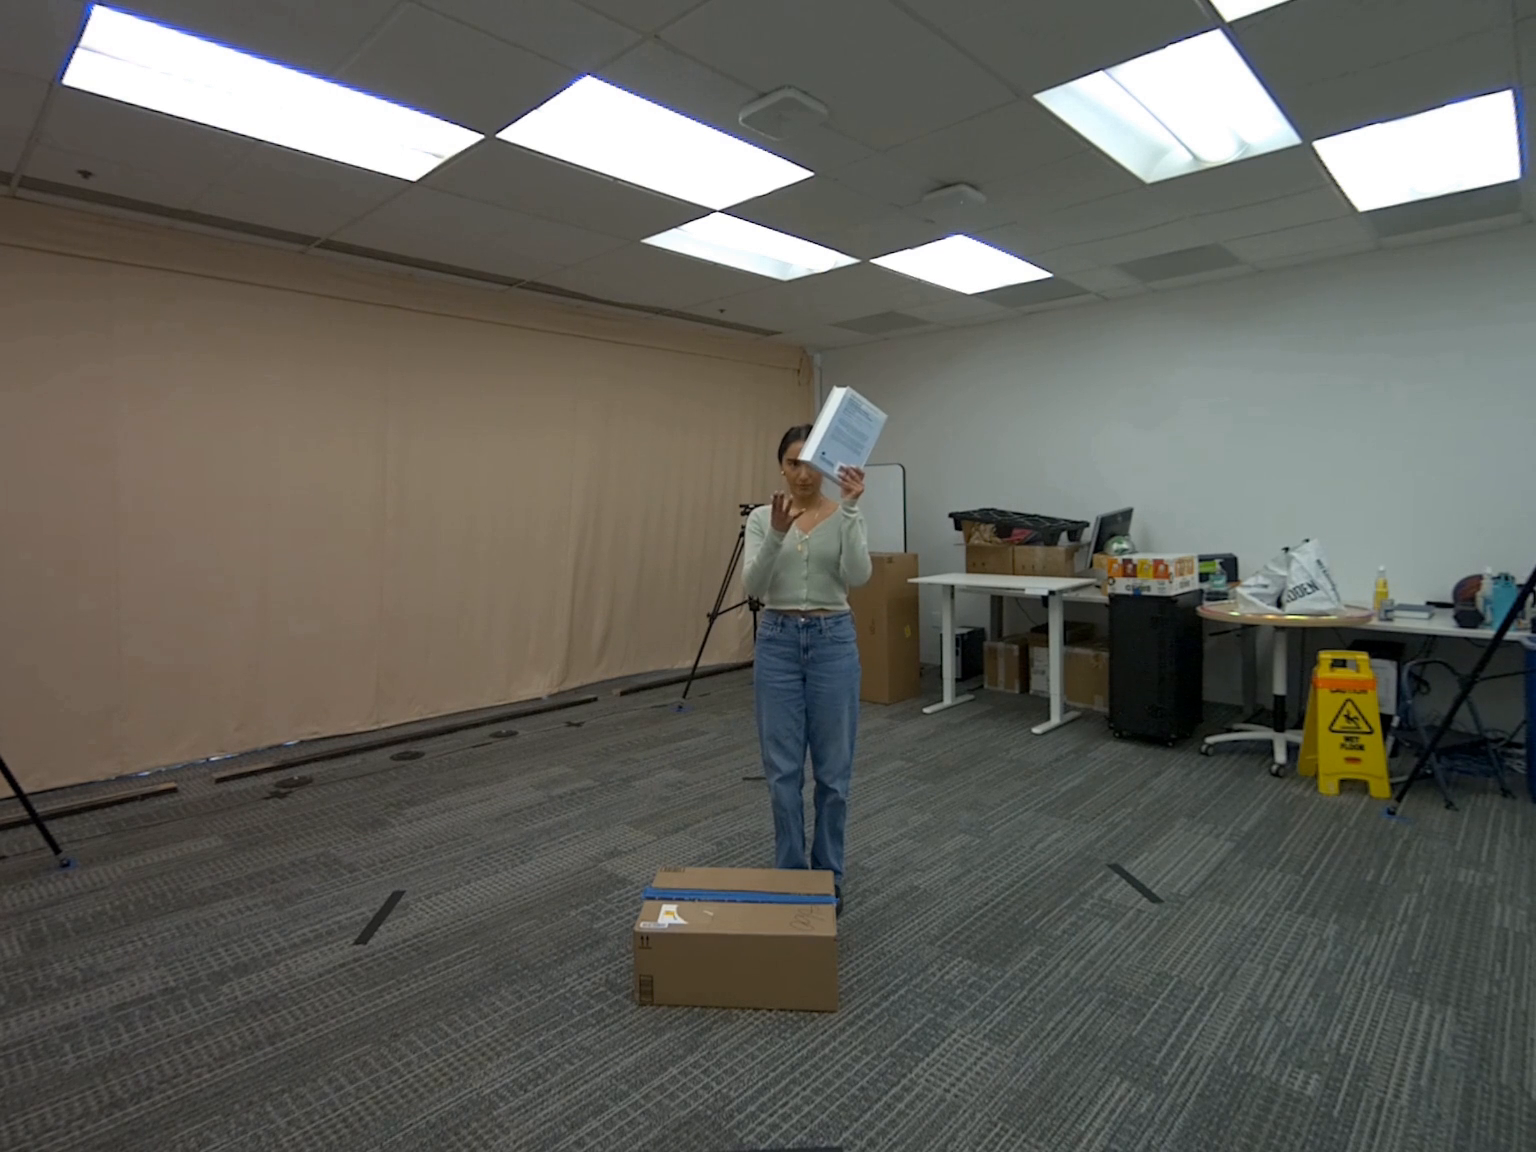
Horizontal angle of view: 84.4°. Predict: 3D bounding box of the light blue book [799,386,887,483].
[{"bbox_3d":[0.241,-0.432,2.630,0.185,0.261,0.061,29,-4,-28],"label":"light blue book"}]
